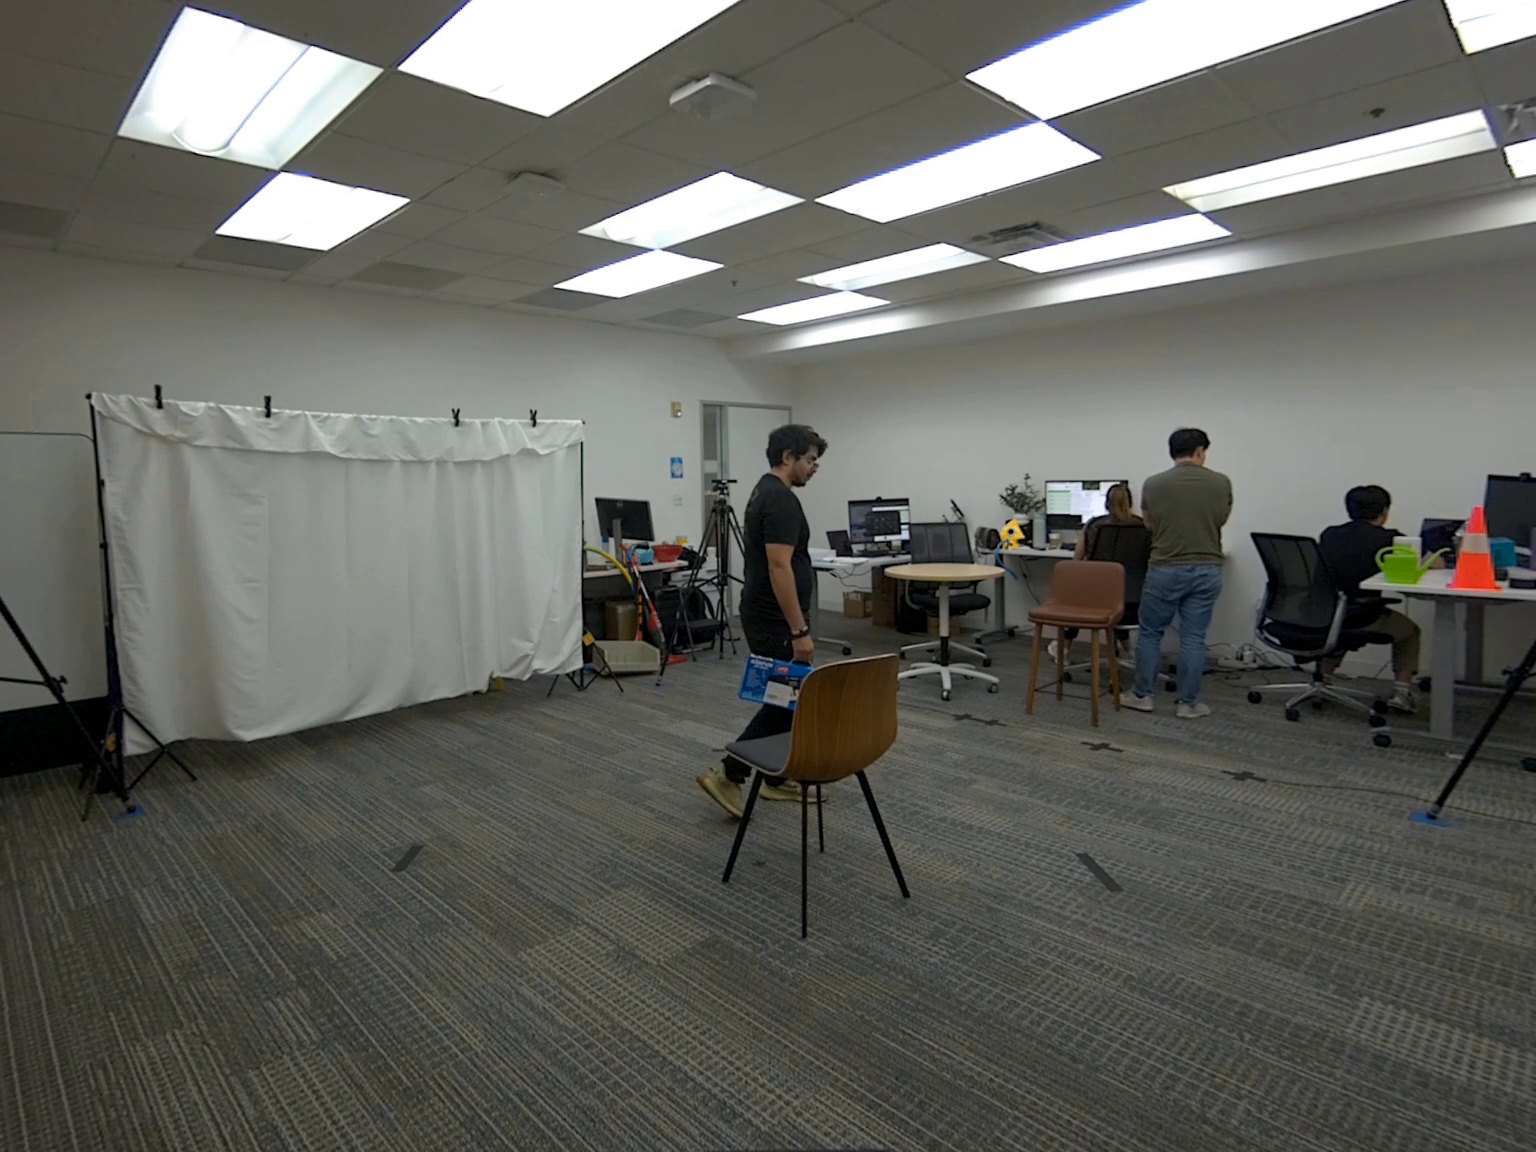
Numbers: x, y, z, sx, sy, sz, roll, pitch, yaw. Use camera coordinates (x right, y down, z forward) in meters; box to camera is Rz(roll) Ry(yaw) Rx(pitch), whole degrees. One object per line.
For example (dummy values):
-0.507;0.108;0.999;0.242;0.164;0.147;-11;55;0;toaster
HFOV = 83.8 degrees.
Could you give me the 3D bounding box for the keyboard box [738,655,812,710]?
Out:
0.119;0.439;3.370;0.436;0.176;0.059;11;2;-1;keyboard box
